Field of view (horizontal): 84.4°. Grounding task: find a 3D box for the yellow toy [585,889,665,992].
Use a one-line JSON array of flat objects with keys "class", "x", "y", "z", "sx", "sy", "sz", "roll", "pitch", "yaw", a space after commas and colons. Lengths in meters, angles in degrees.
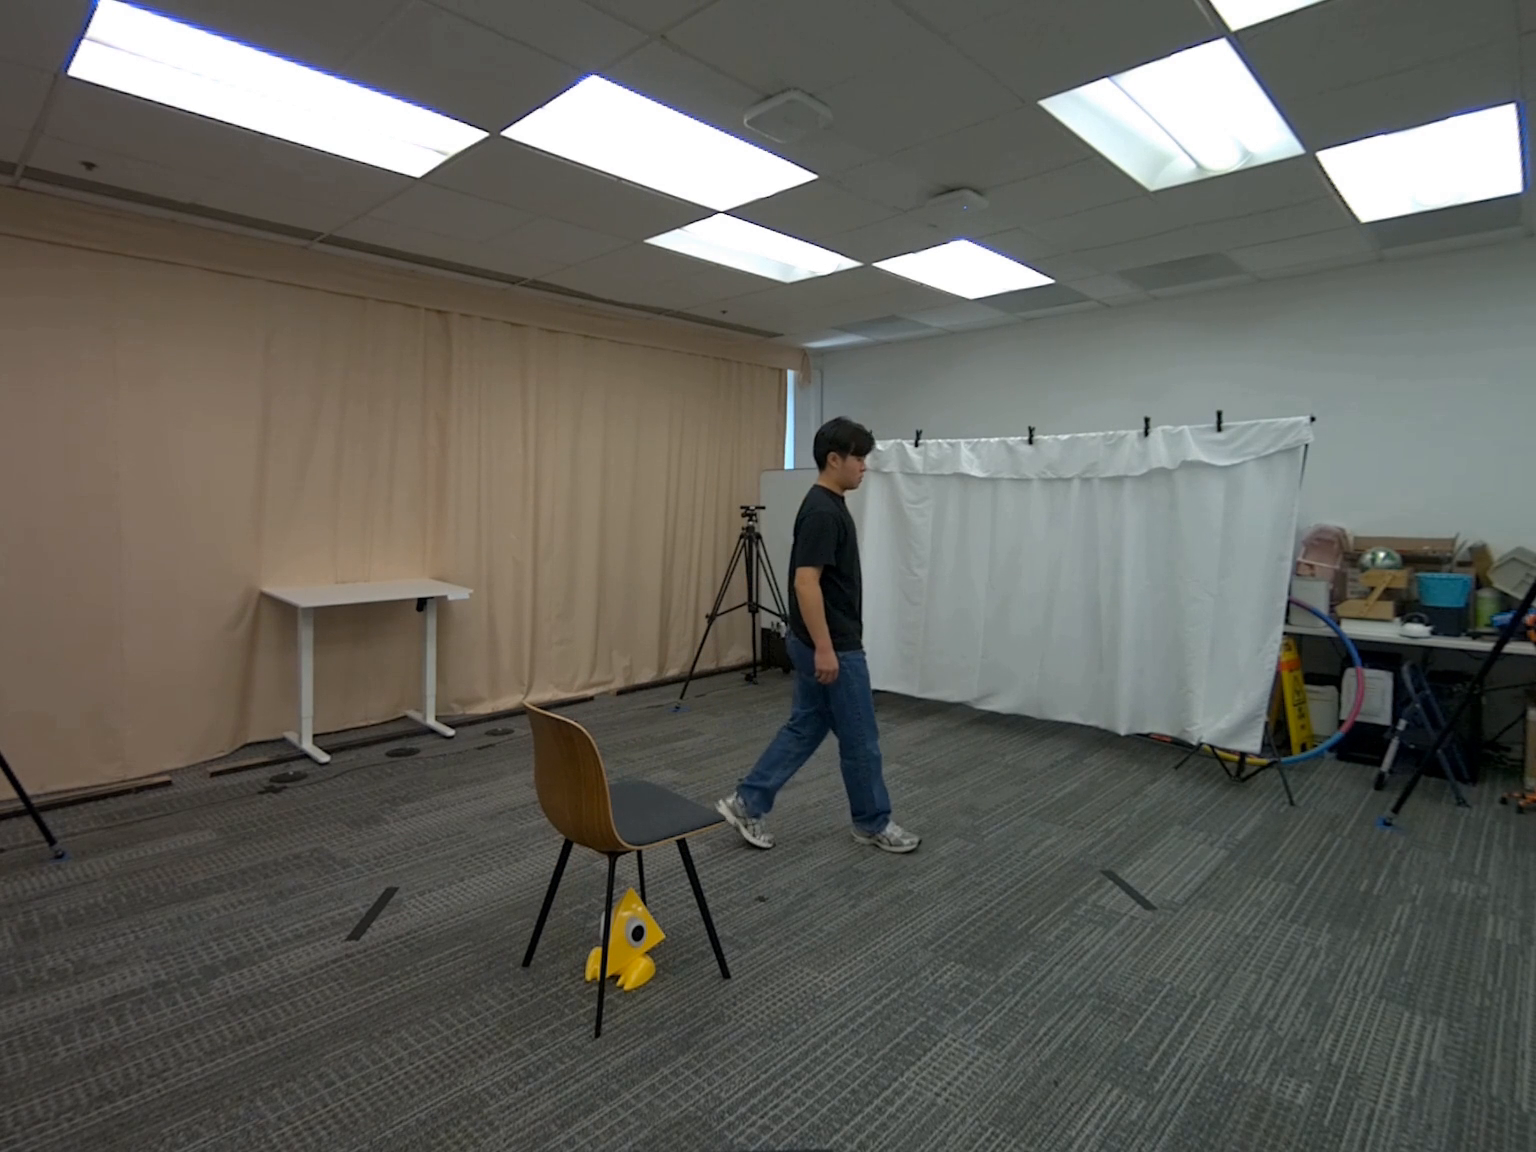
[{"class": "yellow toy", "x": -0.438, "y": 1.074, "z": 2.523, "sx": 0.209, "sy": 0.230, "sz": 0.189, "roll": 0, "pitch": 2, "yaw": 22}]
